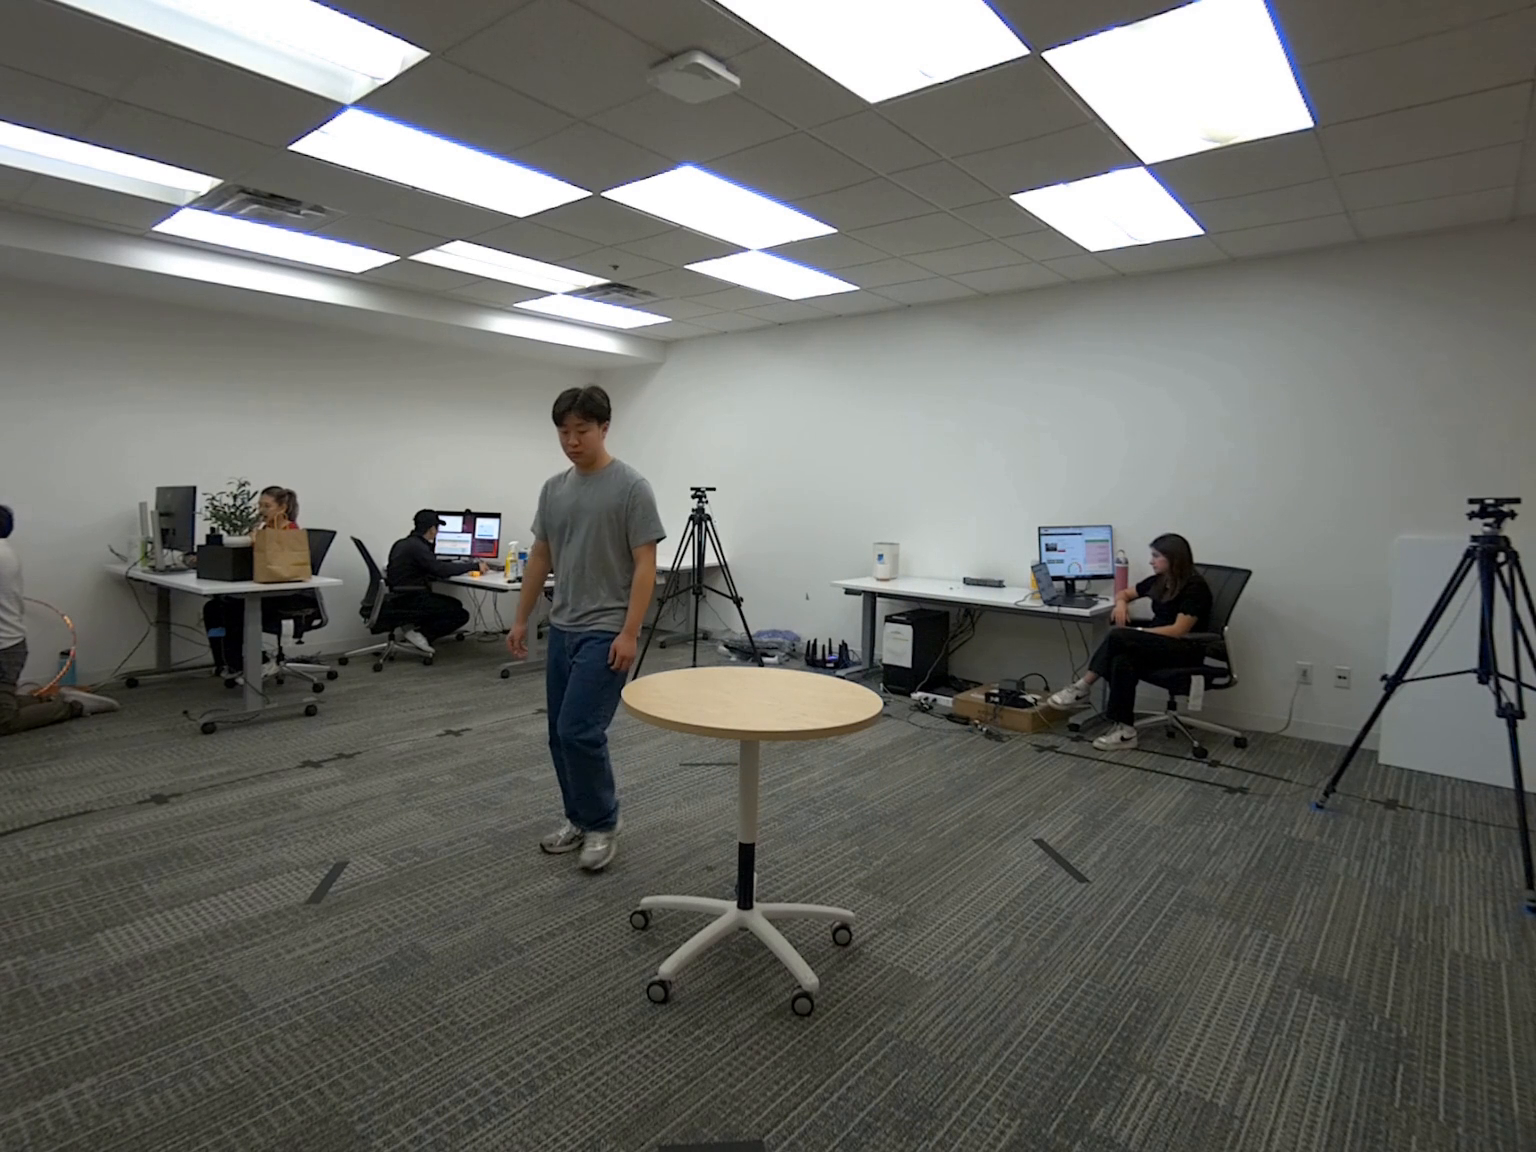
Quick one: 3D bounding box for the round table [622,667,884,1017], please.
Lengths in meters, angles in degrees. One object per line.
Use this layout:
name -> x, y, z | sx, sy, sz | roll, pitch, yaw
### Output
round table -> -0.070, 0.738, 2.531 | 0.763, 0.791, 0.768 | 1, 5, -2
